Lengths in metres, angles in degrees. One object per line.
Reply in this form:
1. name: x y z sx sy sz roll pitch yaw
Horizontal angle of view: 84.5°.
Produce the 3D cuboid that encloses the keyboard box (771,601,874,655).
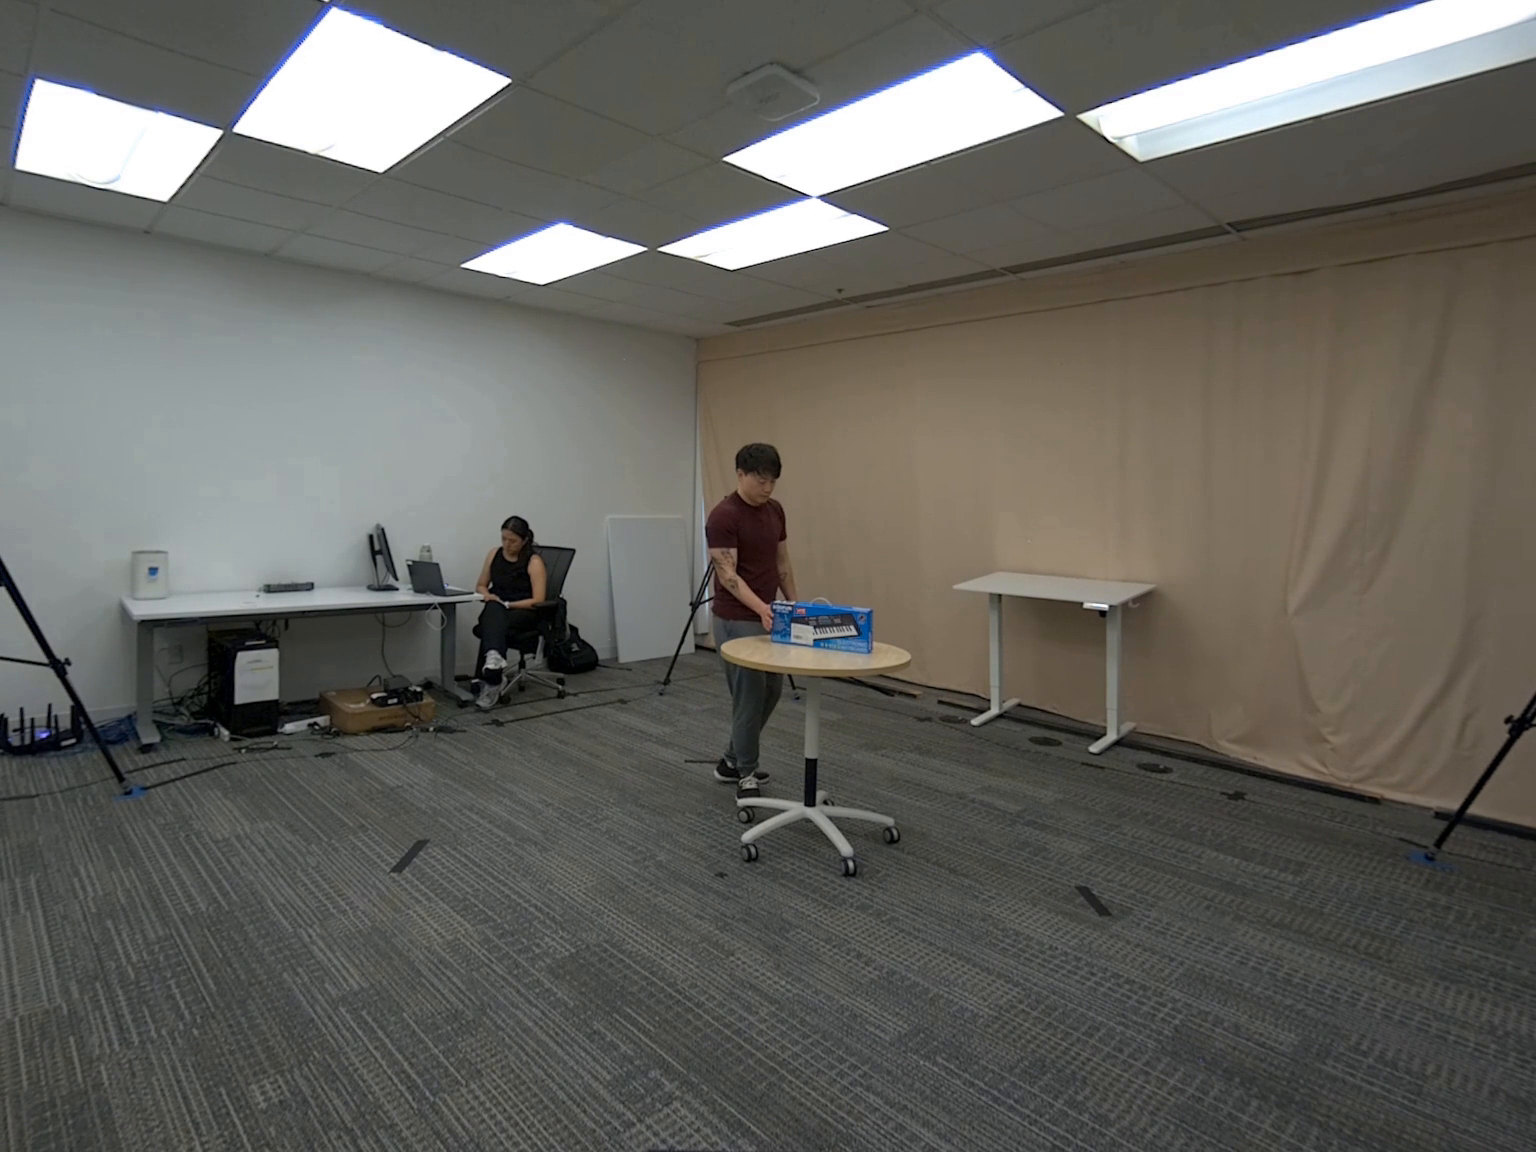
1. keyboard box: 0.215 0.212 3.488 0.446 0.175 0.058 4 10 27
